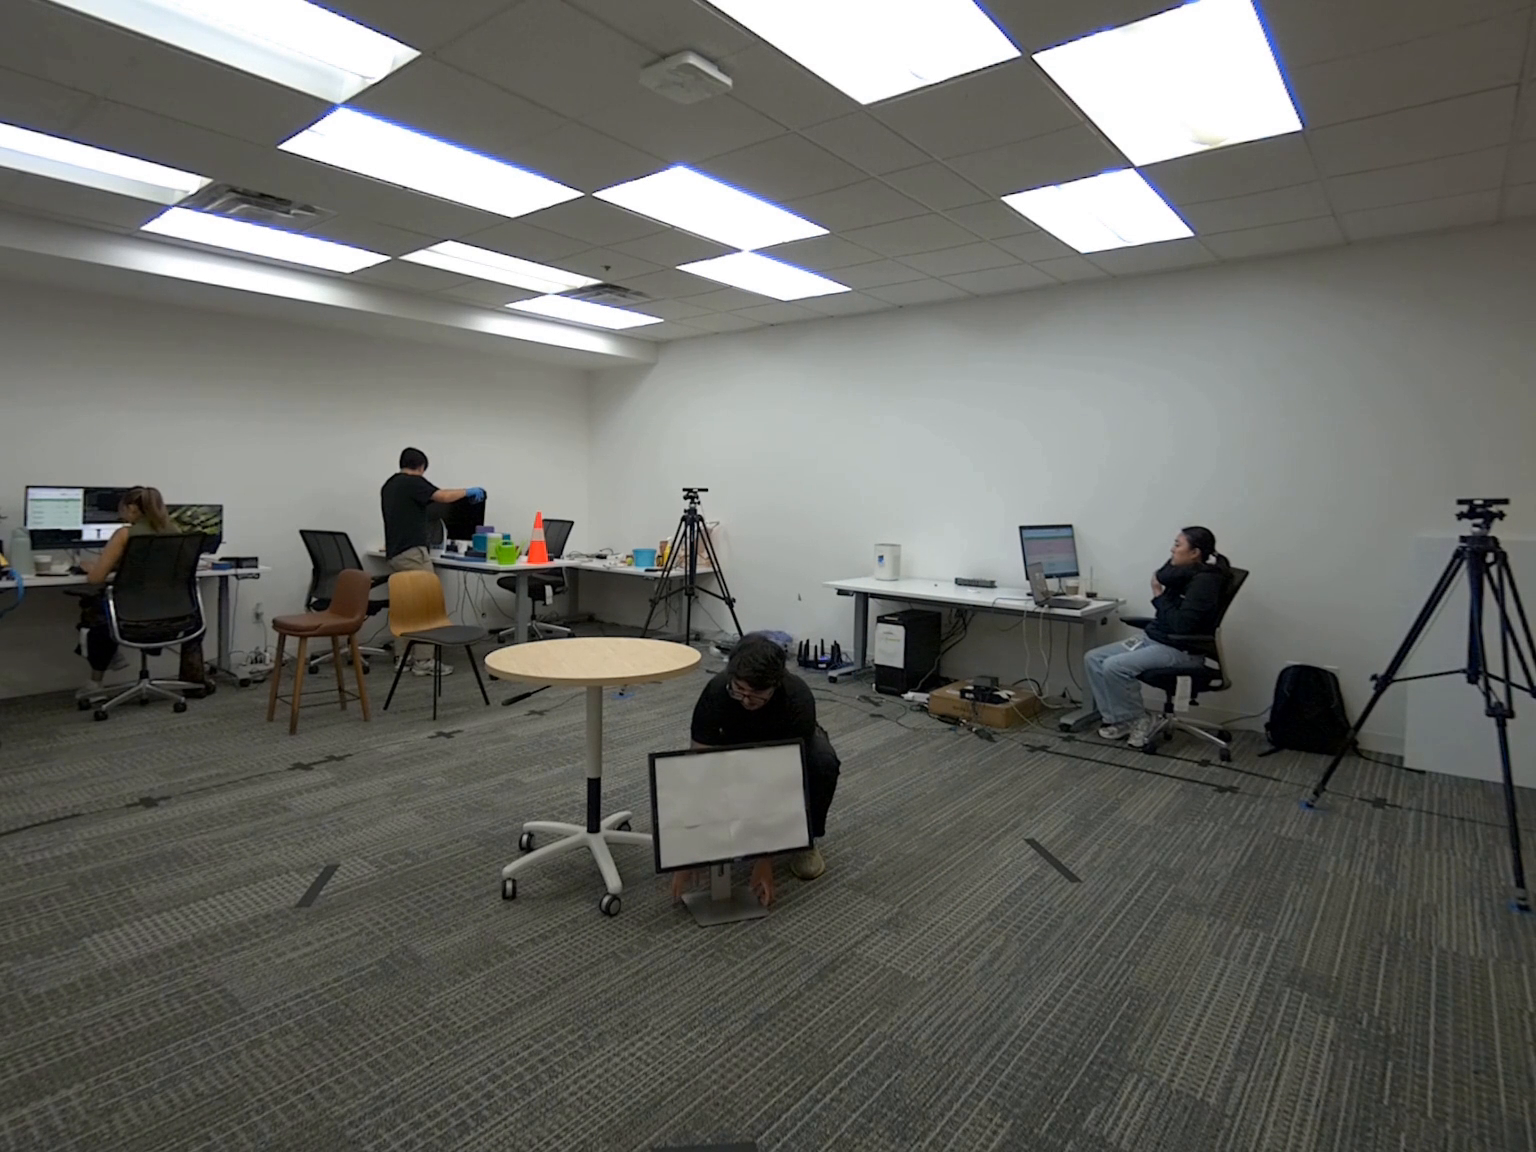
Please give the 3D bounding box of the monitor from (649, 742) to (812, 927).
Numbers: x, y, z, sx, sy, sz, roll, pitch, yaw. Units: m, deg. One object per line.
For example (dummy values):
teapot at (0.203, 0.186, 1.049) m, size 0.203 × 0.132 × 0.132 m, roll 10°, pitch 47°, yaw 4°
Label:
monitor at (-0.153, 0.825, 2.836) m, size 0.552 × 0.556 × 0.214 m, roll -1°, pitch -3°, yaw -25°
